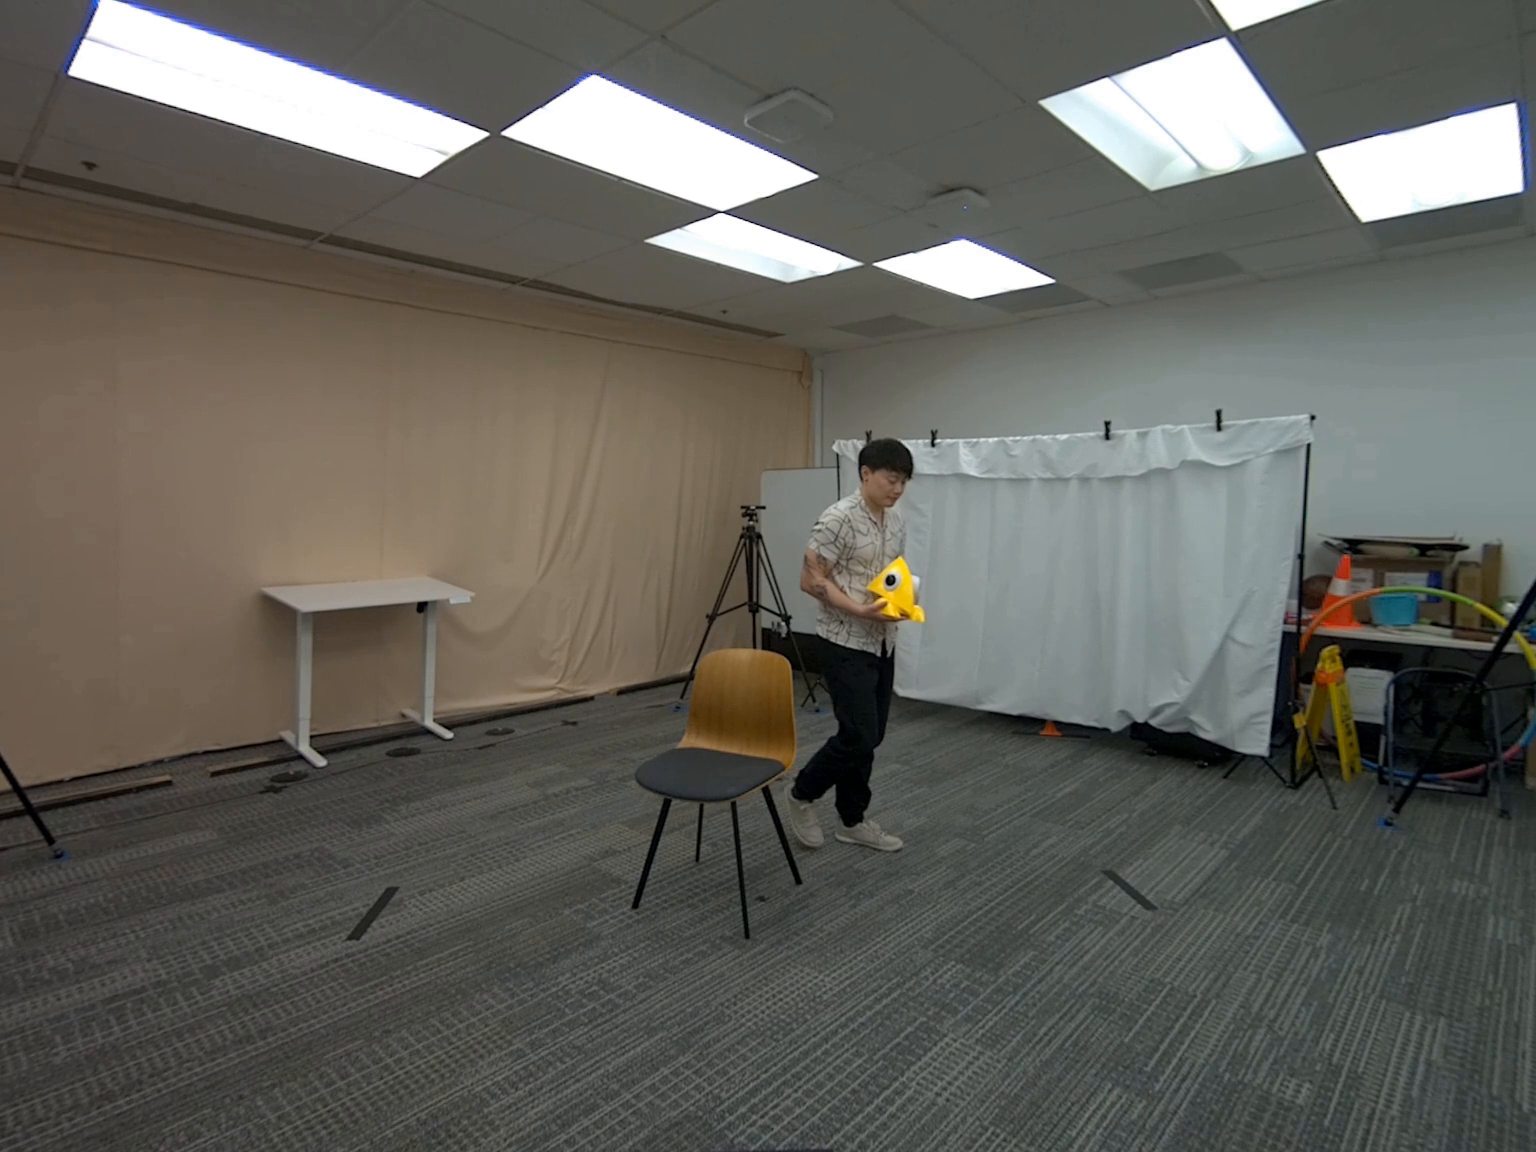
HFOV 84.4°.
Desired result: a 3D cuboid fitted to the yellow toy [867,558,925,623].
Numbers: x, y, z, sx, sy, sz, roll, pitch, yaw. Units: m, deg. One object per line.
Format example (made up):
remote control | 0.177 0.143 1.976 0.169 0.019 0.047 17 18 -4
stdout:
yellow toy | 0.514 0.043 3.236 0.200 0.231 0.198 12 0 -22
